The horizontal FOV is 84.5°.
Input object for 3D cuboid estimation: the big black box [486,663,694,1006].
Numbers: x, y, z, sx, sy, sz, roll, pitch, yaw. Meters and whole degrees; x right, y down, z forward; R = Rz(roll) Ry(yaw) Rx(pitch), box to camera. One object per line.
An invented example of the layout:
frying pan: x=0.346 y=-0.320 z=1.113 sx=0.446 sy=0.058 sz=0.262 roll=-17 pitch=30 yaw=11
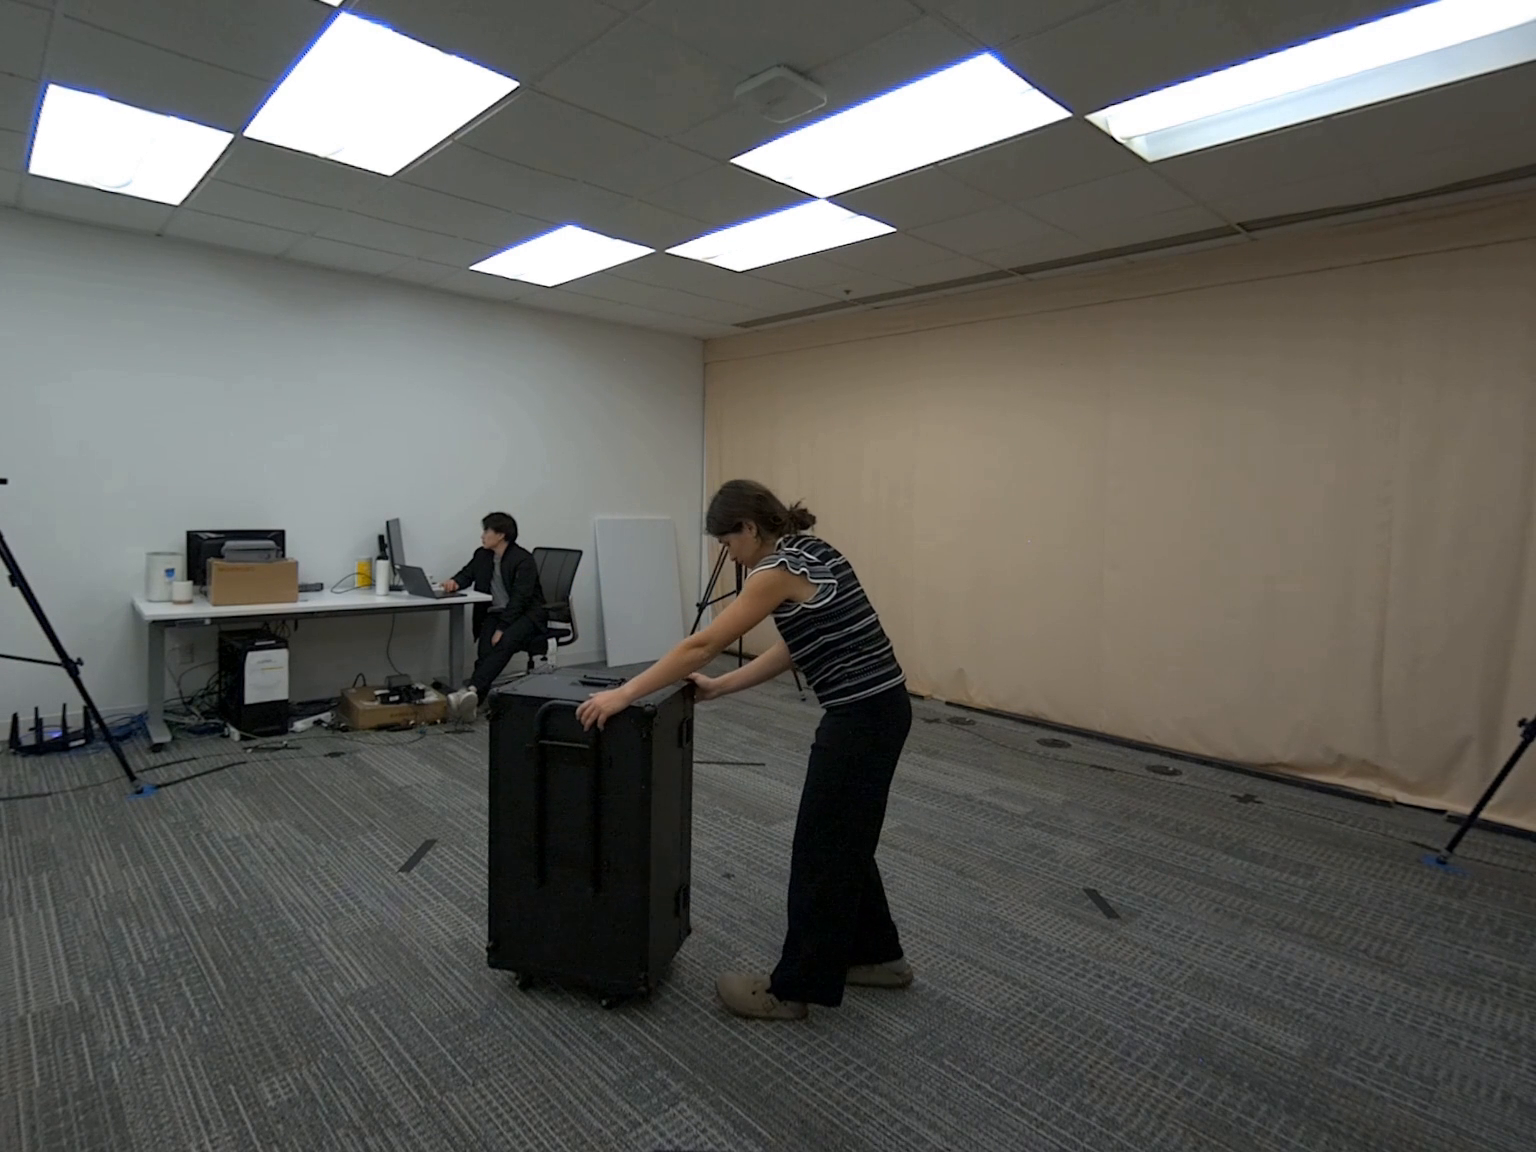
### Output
big black box: x=-0.502 y=0.740 z=2.417 sx=0.528 sy=0.859 sz=0.392 roll=2 pitch=4 yaw=16
